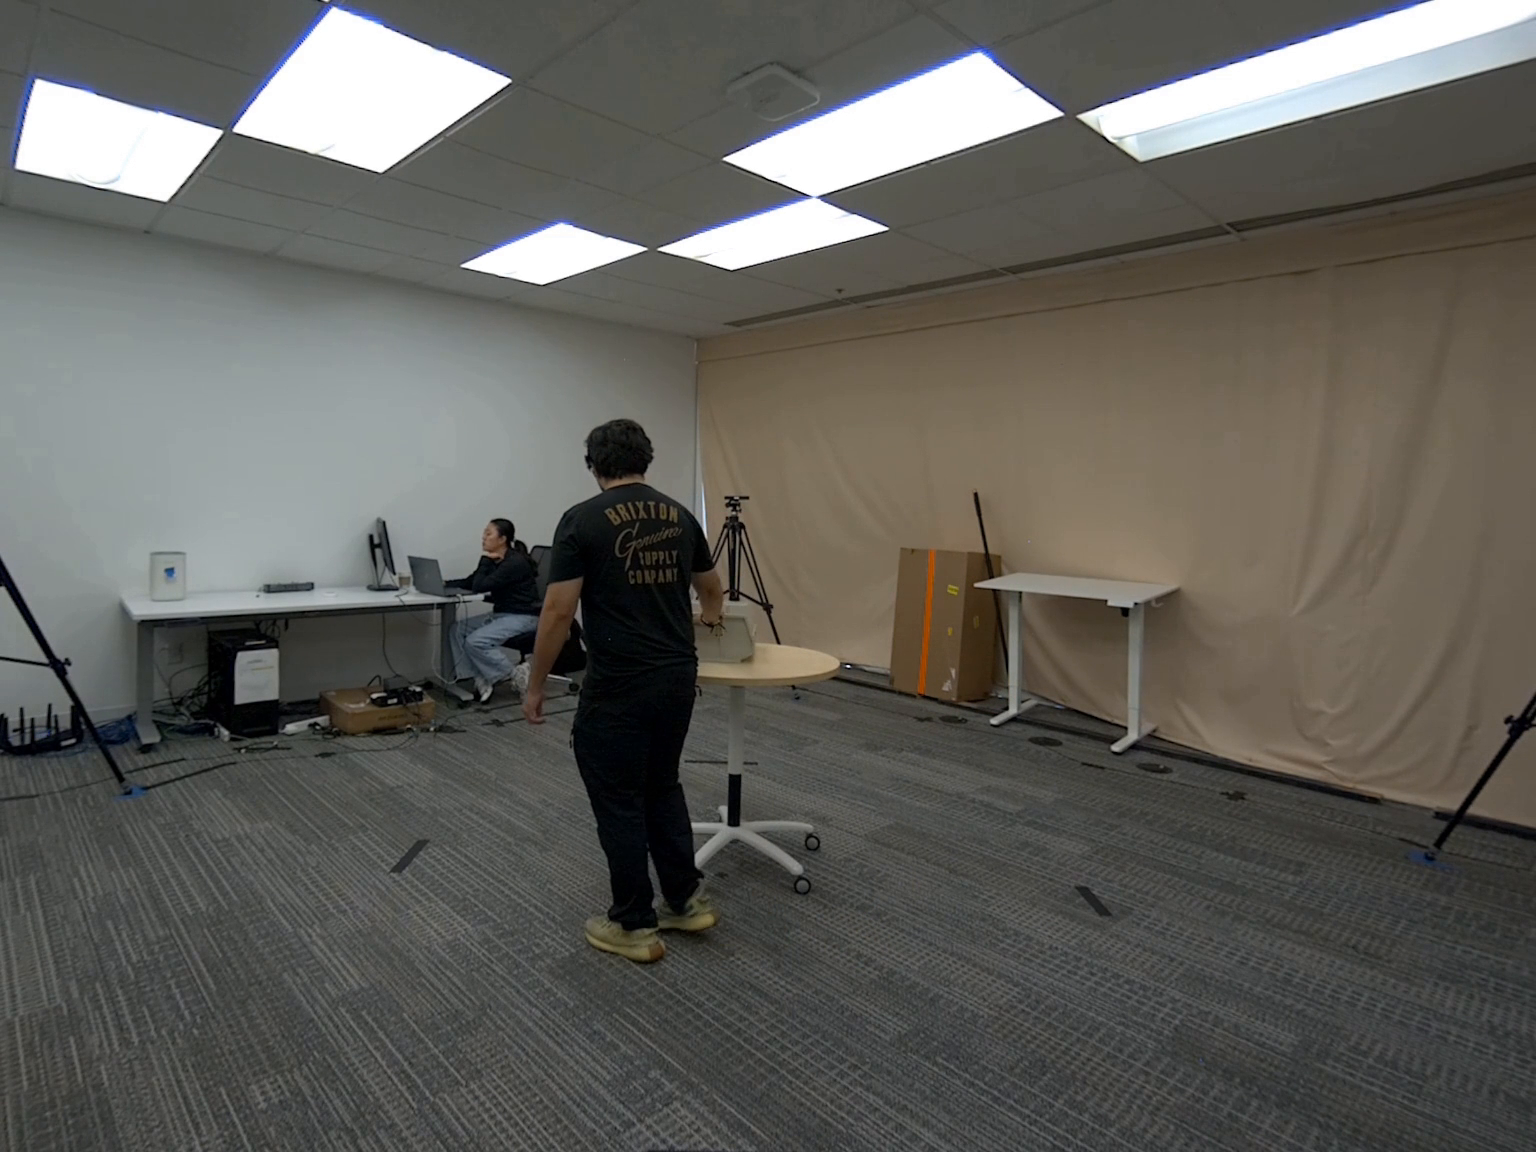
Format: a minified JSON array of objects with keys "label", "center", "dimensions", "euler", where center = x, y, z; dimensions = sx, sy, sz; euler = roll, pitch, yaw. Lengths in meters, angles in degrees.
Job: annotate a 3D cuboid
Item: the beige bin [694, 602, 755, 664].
[{"label":"beige bin","center":[-0.243,0.205,3.294],"dimensions":[0.378,0.188,0.423],"euler":[2,6,1]}]
